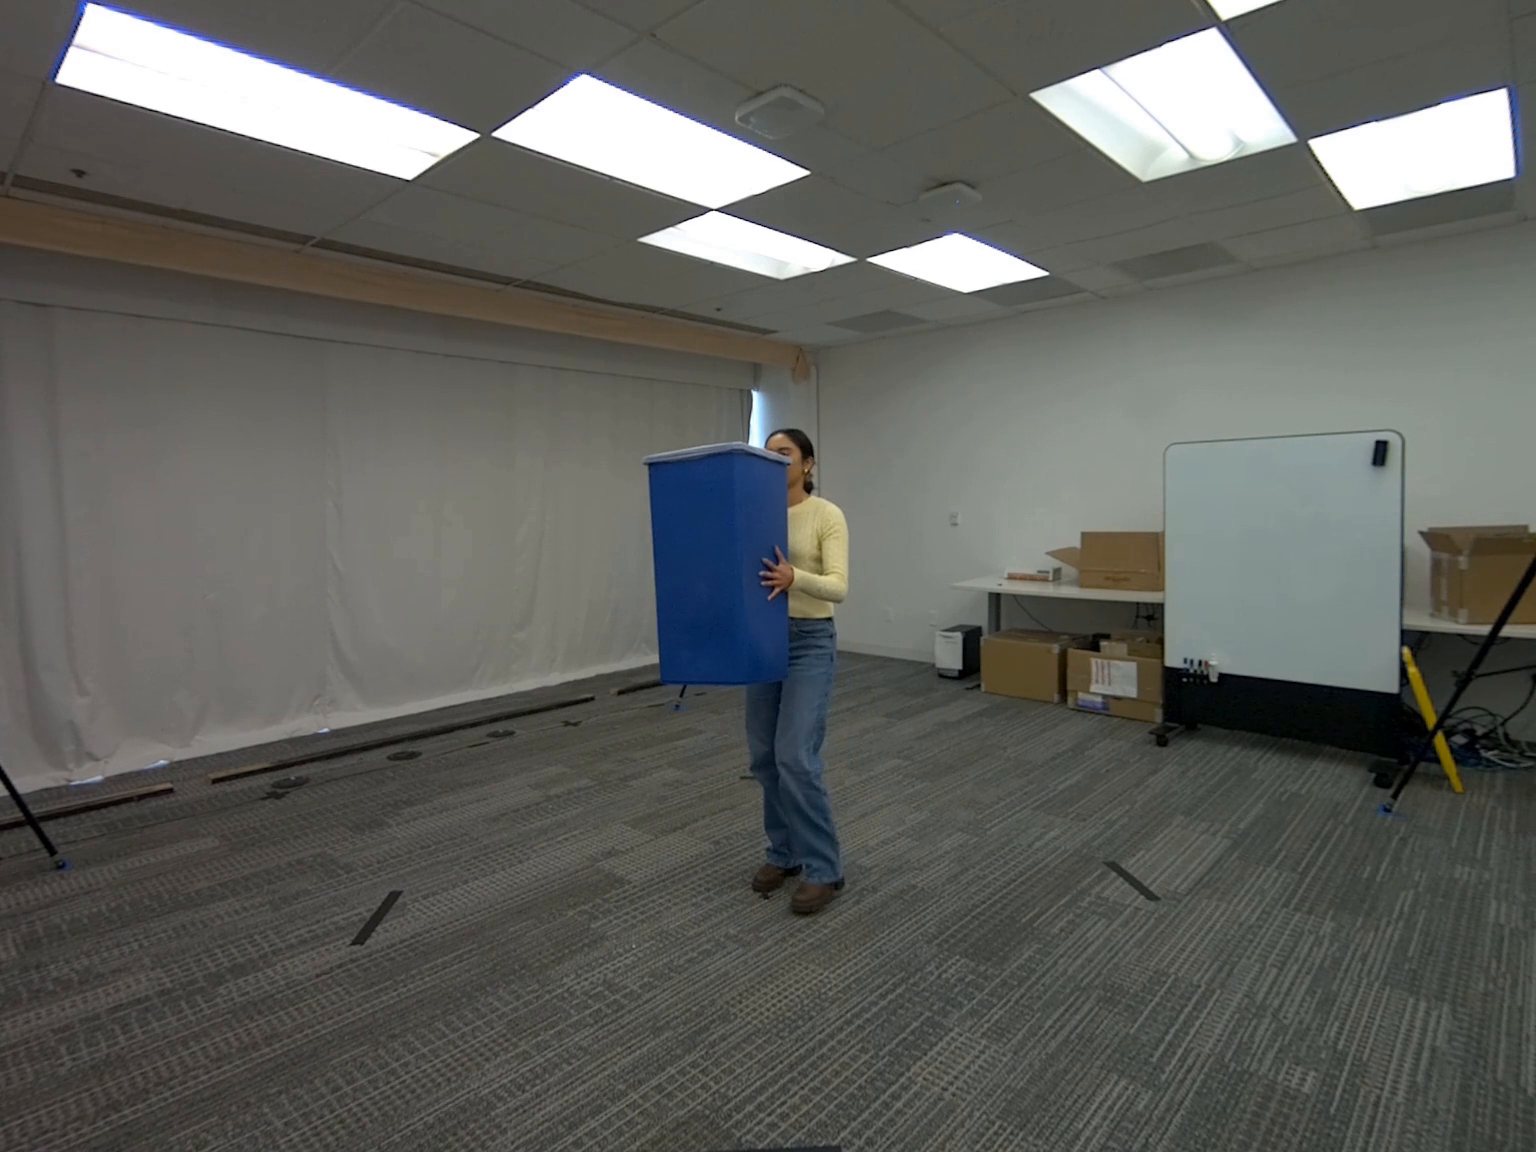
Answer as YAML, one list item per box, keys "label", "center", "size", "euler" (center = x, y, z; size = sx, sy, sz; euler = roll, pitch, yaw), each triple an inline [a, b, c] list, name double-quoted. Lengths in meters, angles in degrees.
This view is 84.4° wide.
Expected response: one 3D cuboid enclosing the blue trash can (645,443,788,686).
- label: "blue trash can"
  center: [-0.146, -0.024, 2.665]
  size: [0.388, 0.716, 0.363]
  euler: [-5, -6, 30]
